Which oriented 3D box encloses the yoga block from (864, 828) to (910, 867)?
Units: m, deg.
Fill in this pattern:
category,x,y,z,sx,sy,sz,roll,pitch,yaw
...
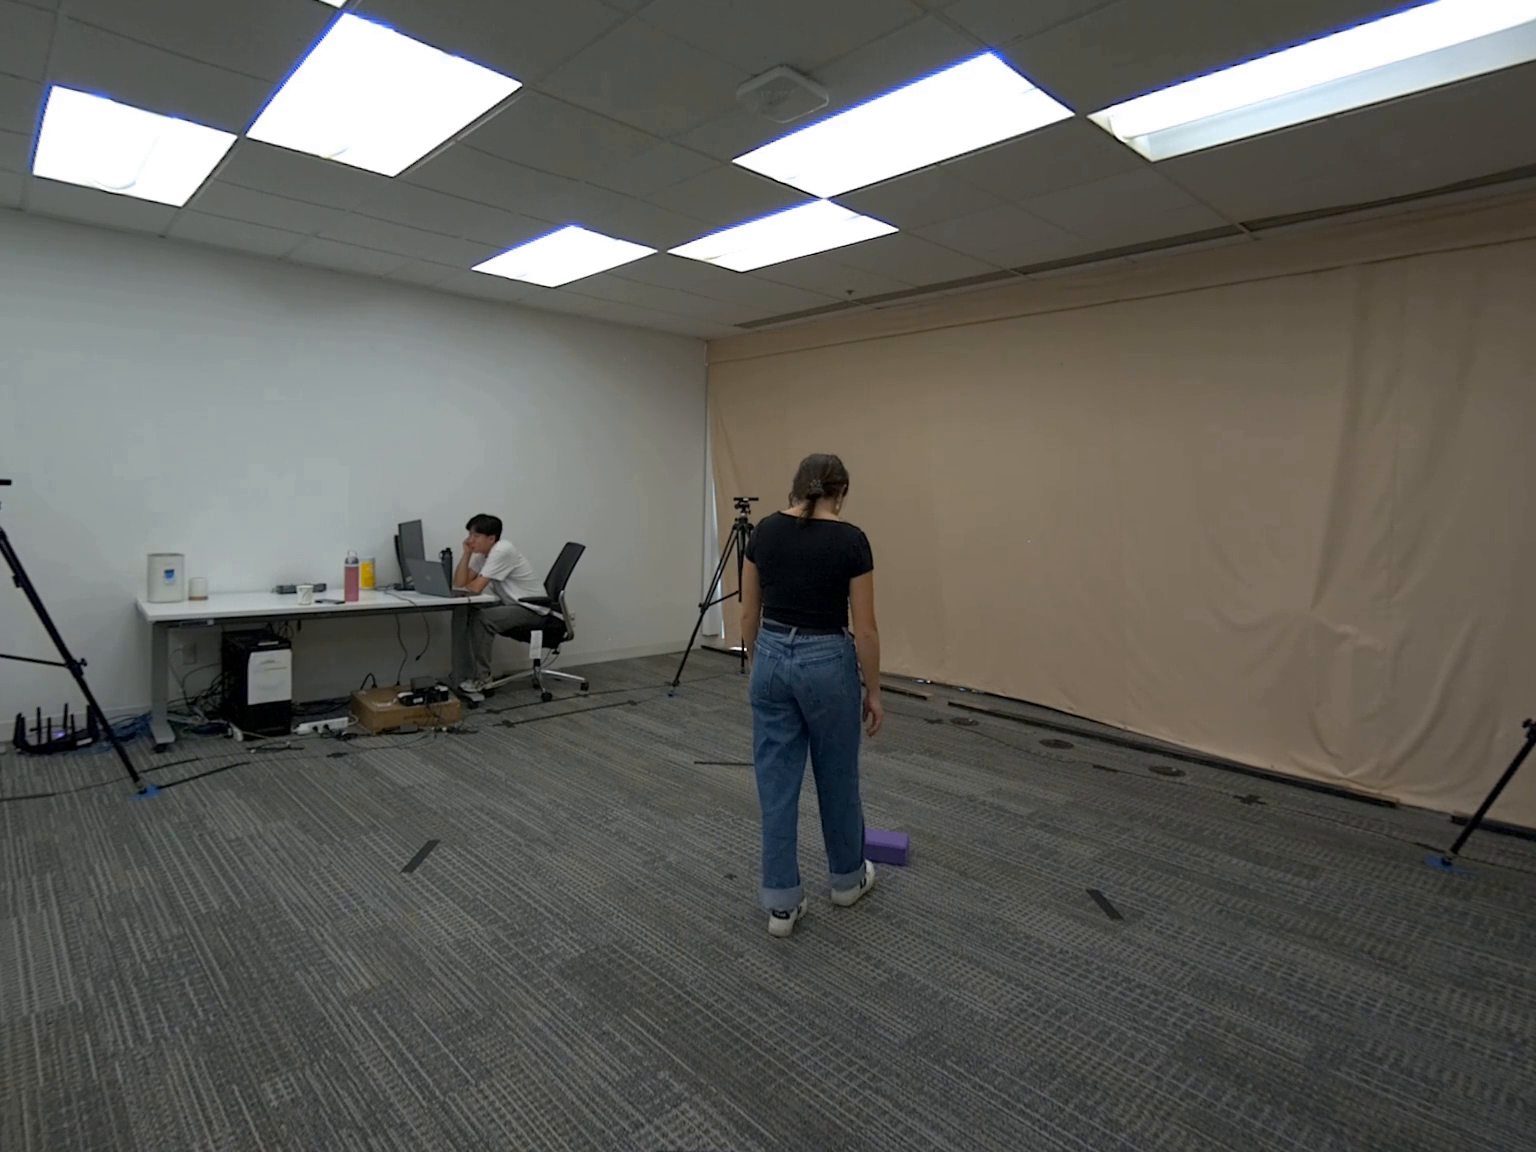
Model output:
category,x,y,z,sx,sy,sz,roll,pitch,yaw
yoga block,0.425,1.060,3.316,0.232,0.076,0.147,2,7,17
